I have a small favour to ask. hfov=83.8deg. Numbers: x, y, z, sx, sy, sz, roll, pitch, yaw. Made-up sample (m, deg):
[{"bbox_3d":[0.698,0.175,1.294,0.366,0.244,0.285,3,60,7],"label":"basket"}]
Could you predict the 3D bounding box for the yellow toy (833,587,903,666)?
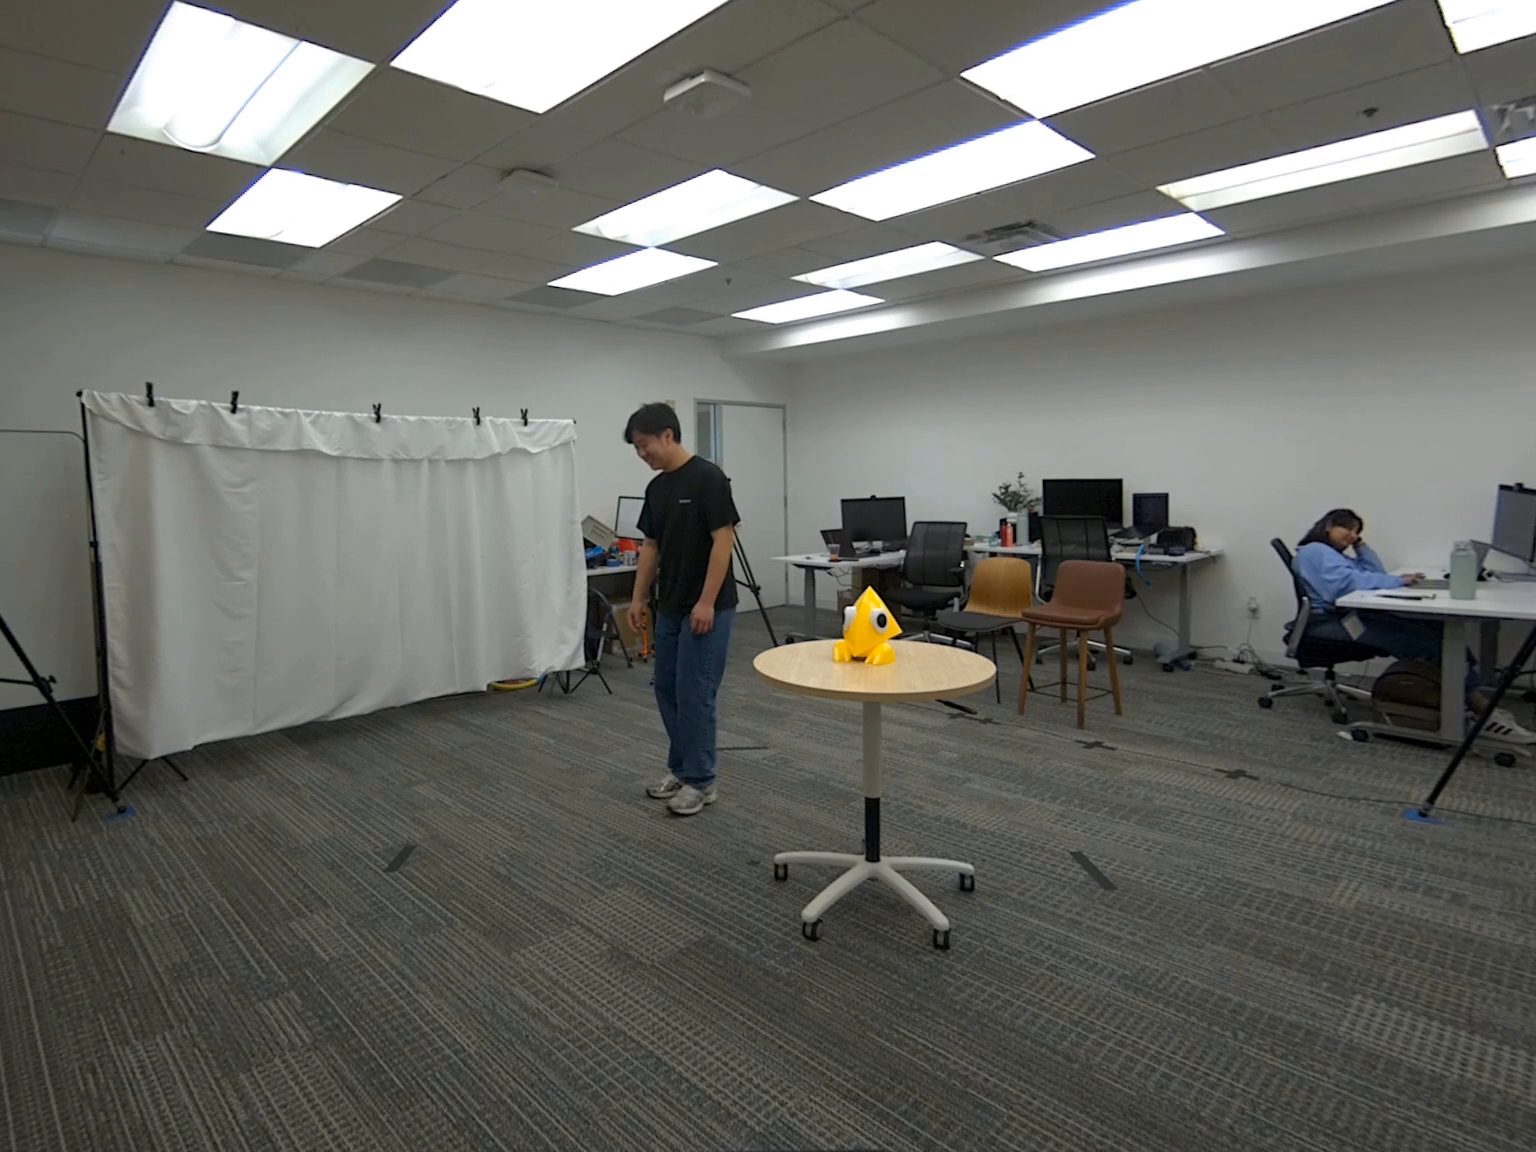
[{"bbox_3d":[0.322,0.158,2.812,0.210,0.230,0.189,3,5,25],"label":"yellow toy"}]
